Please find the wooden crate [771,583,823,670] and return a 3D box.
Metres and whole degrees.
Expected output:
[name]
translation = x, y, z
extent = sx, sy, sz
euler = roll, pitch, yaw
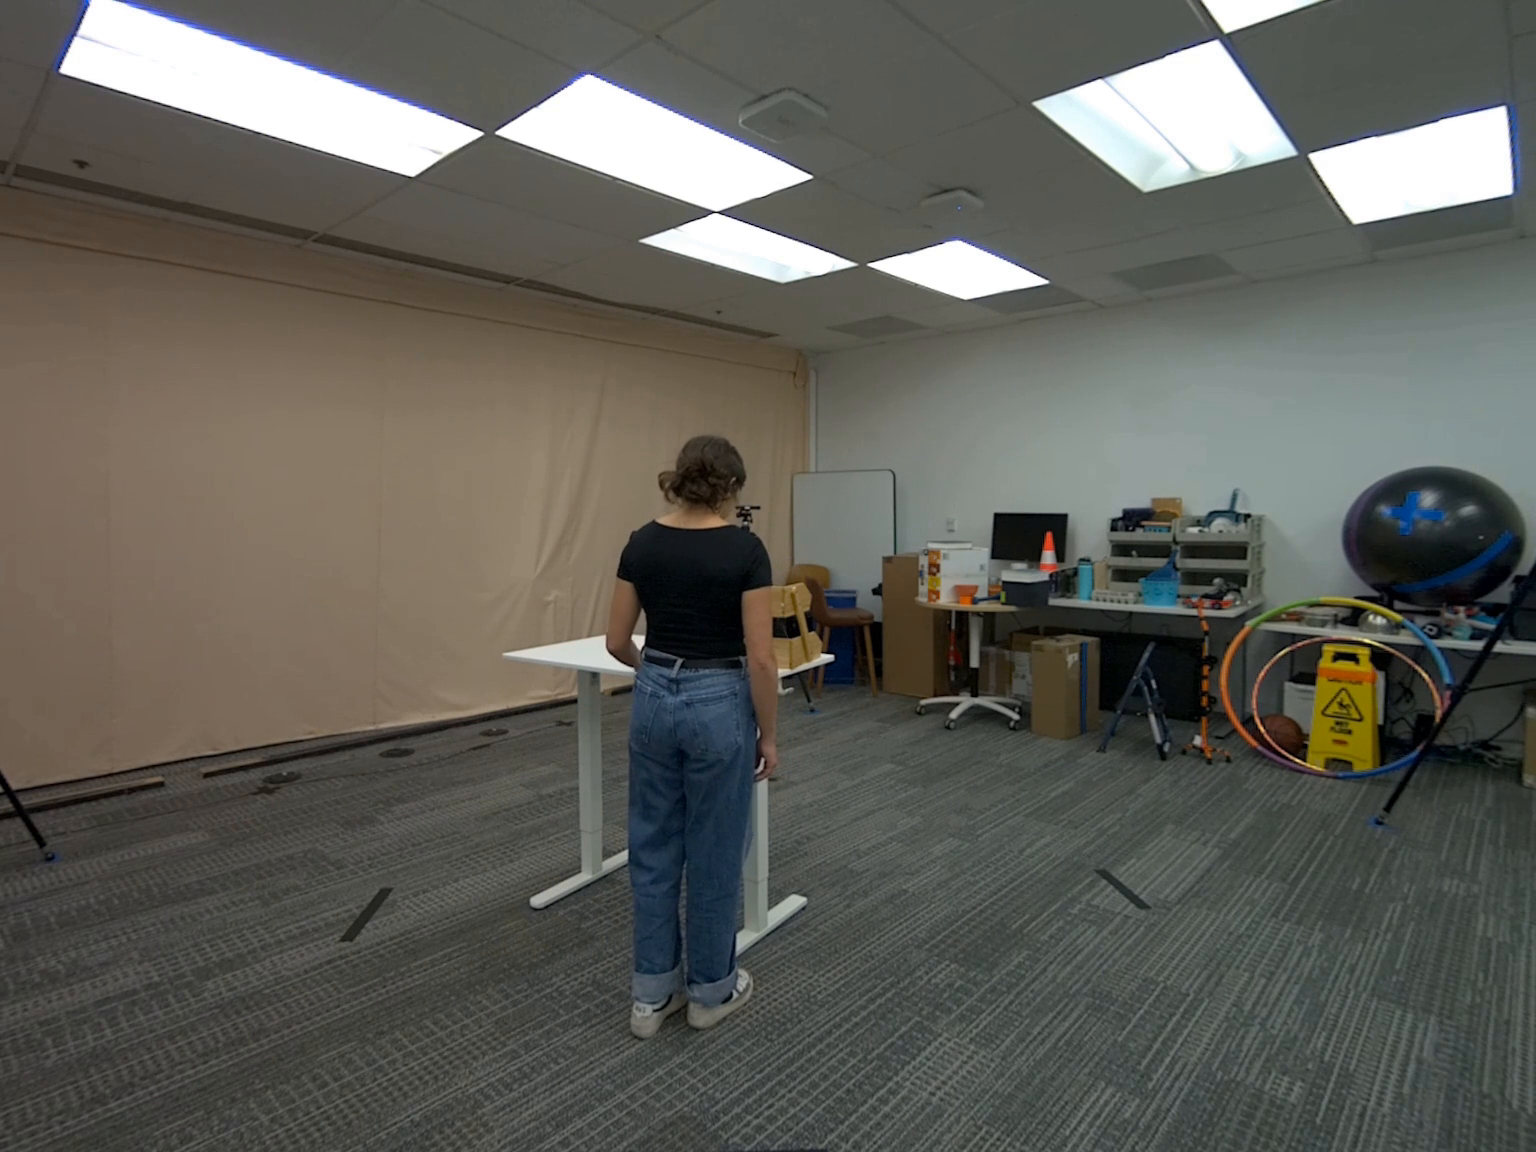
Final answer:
[wooden crate]
translation = -0.018, 0.145, 2.759
extent = 0.333, 0.272, 0.295
euler = 1, 5, 27
